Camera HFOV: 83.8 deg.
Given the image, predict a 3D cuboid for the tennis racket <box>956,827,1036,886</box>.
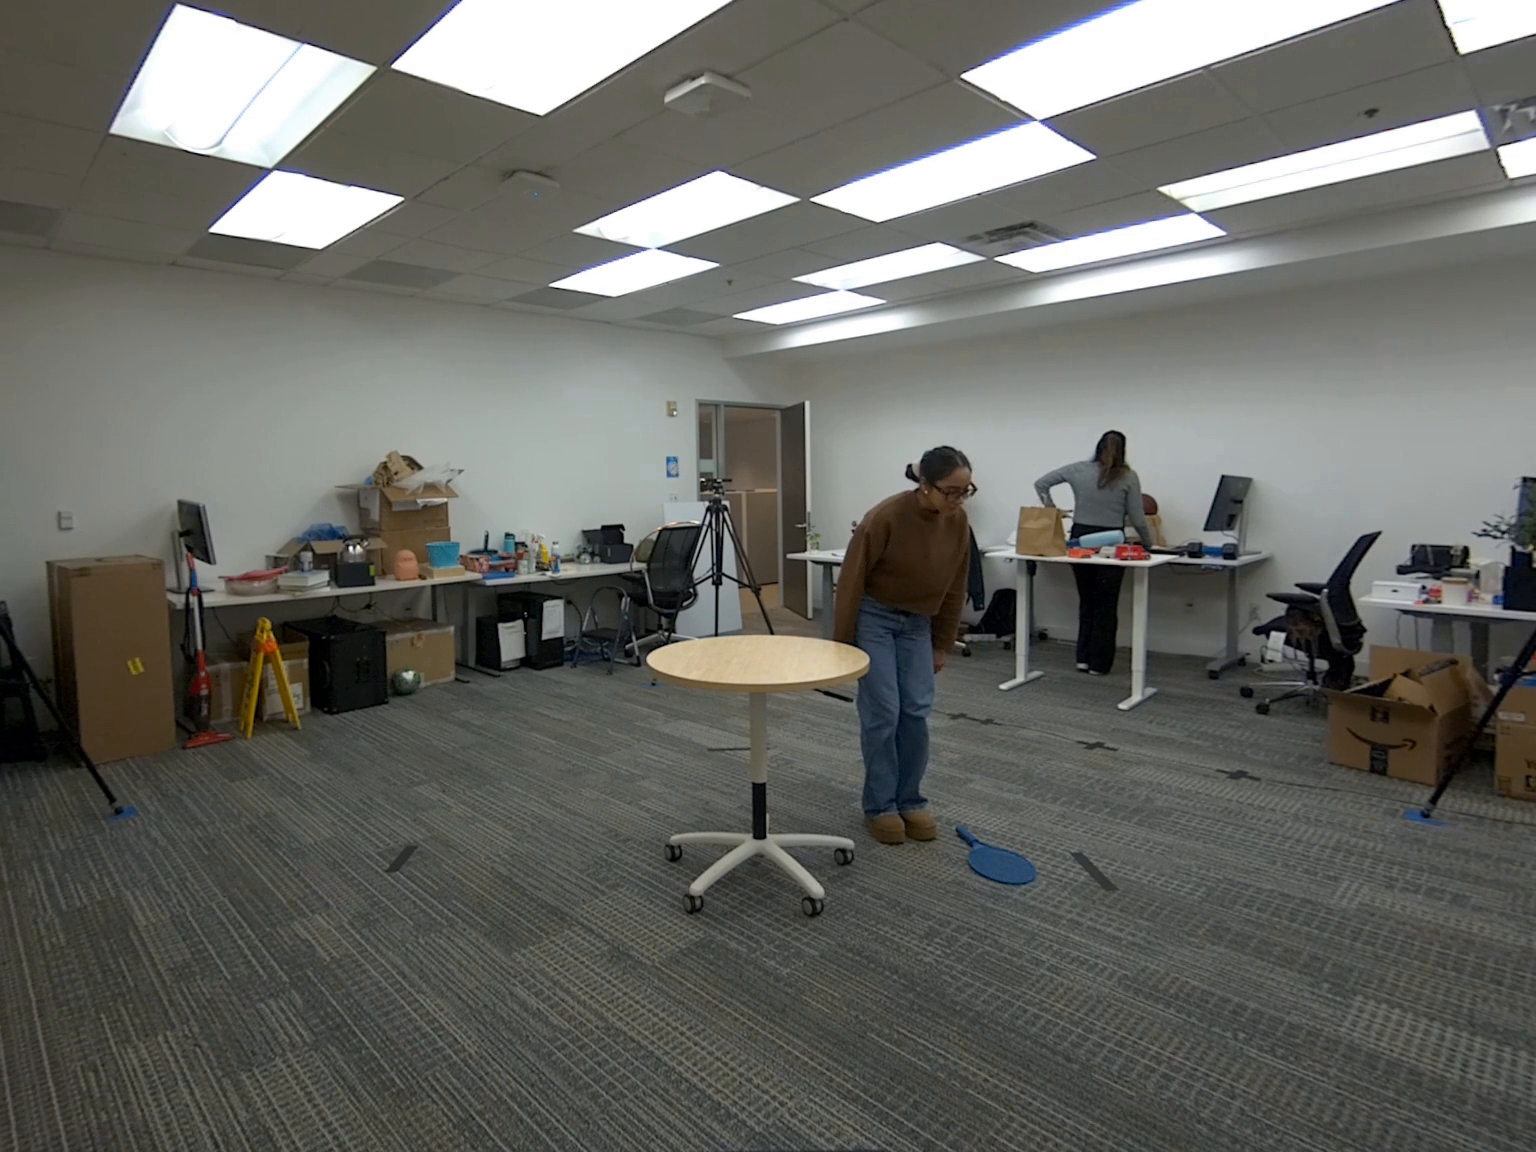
[{"bbox_3d":[0.798,1.008,3.116,0.210,0.031,0.442,-3,8,-17],"label":"tennis racket"}]
